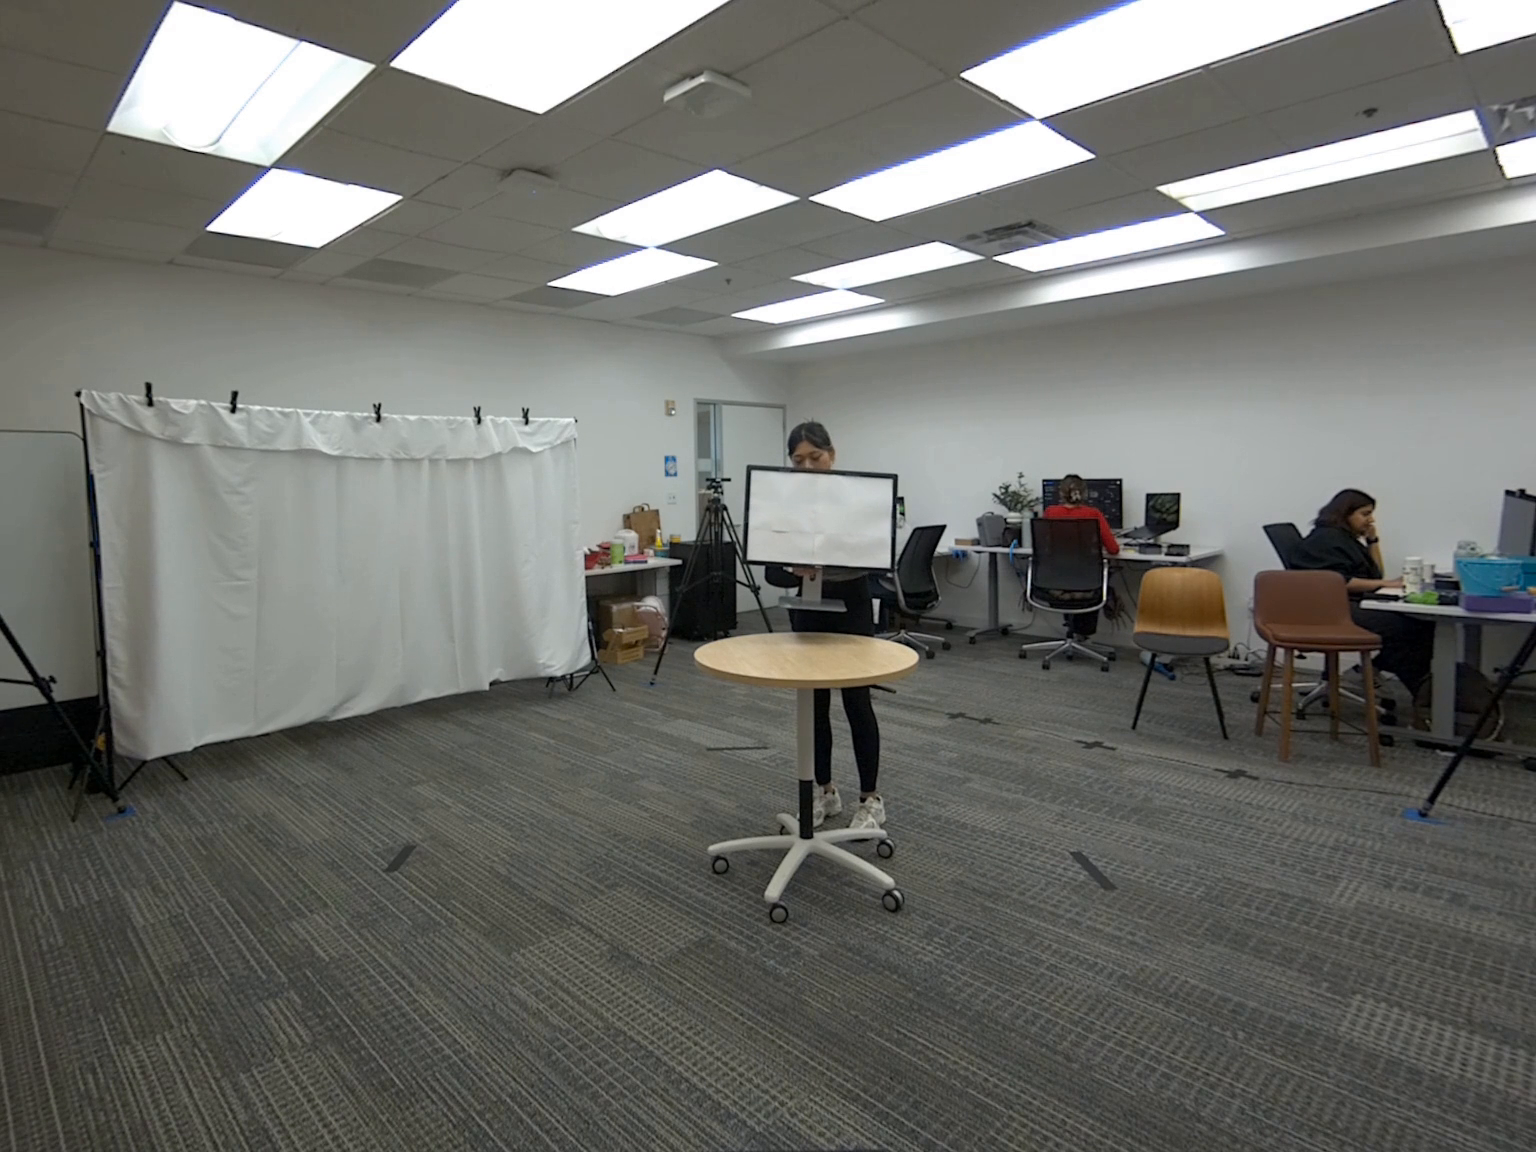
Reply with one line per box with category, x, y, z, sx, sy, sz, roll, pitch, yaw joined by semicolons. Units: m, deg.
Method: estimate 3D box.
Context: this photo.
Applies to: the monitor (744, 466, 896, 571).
monitor;0.174;-0.132;3.157;0.536;0.519;0.189;4;8;-5
